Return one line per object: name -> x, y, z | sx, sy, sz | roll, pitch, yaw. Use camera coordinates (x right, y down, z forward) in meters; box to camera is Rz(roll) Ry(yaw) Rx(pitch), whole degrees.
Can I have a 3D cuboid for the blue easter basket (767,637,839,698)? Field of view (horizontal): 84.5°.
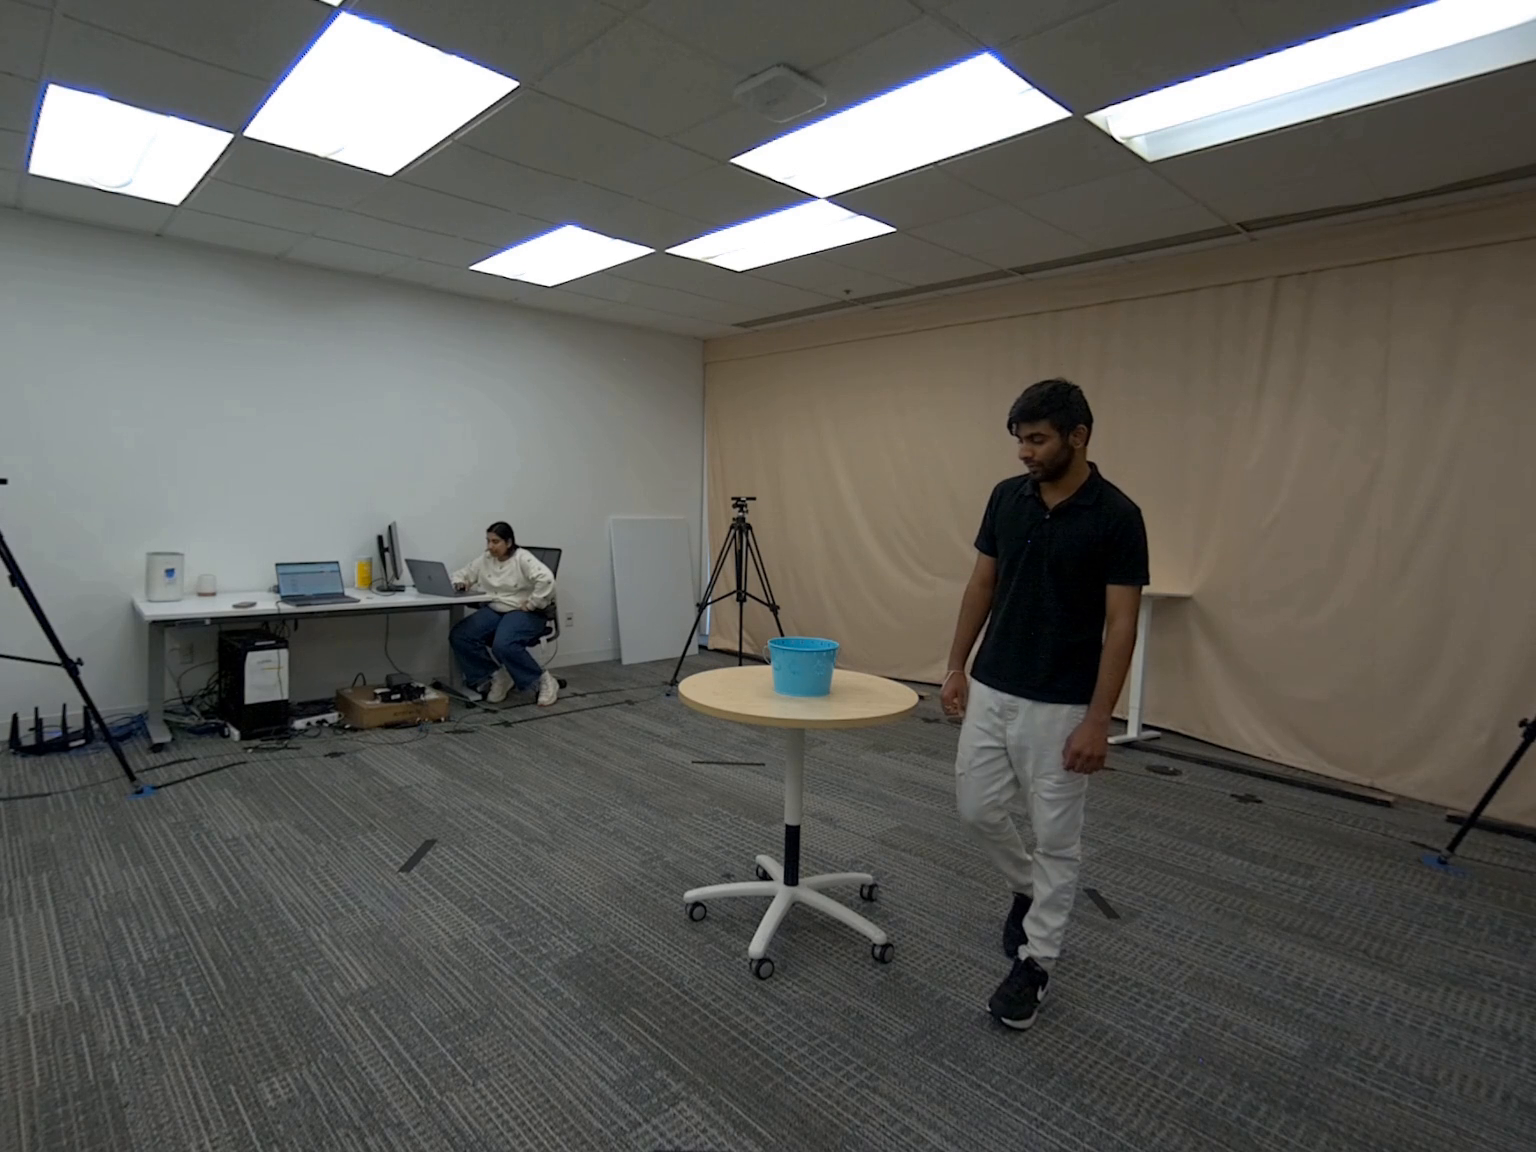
blue easter basket -> 0.107, 0.297, 2.685 | 0.243, 0.155, 0.244 | 3, 5, -2
